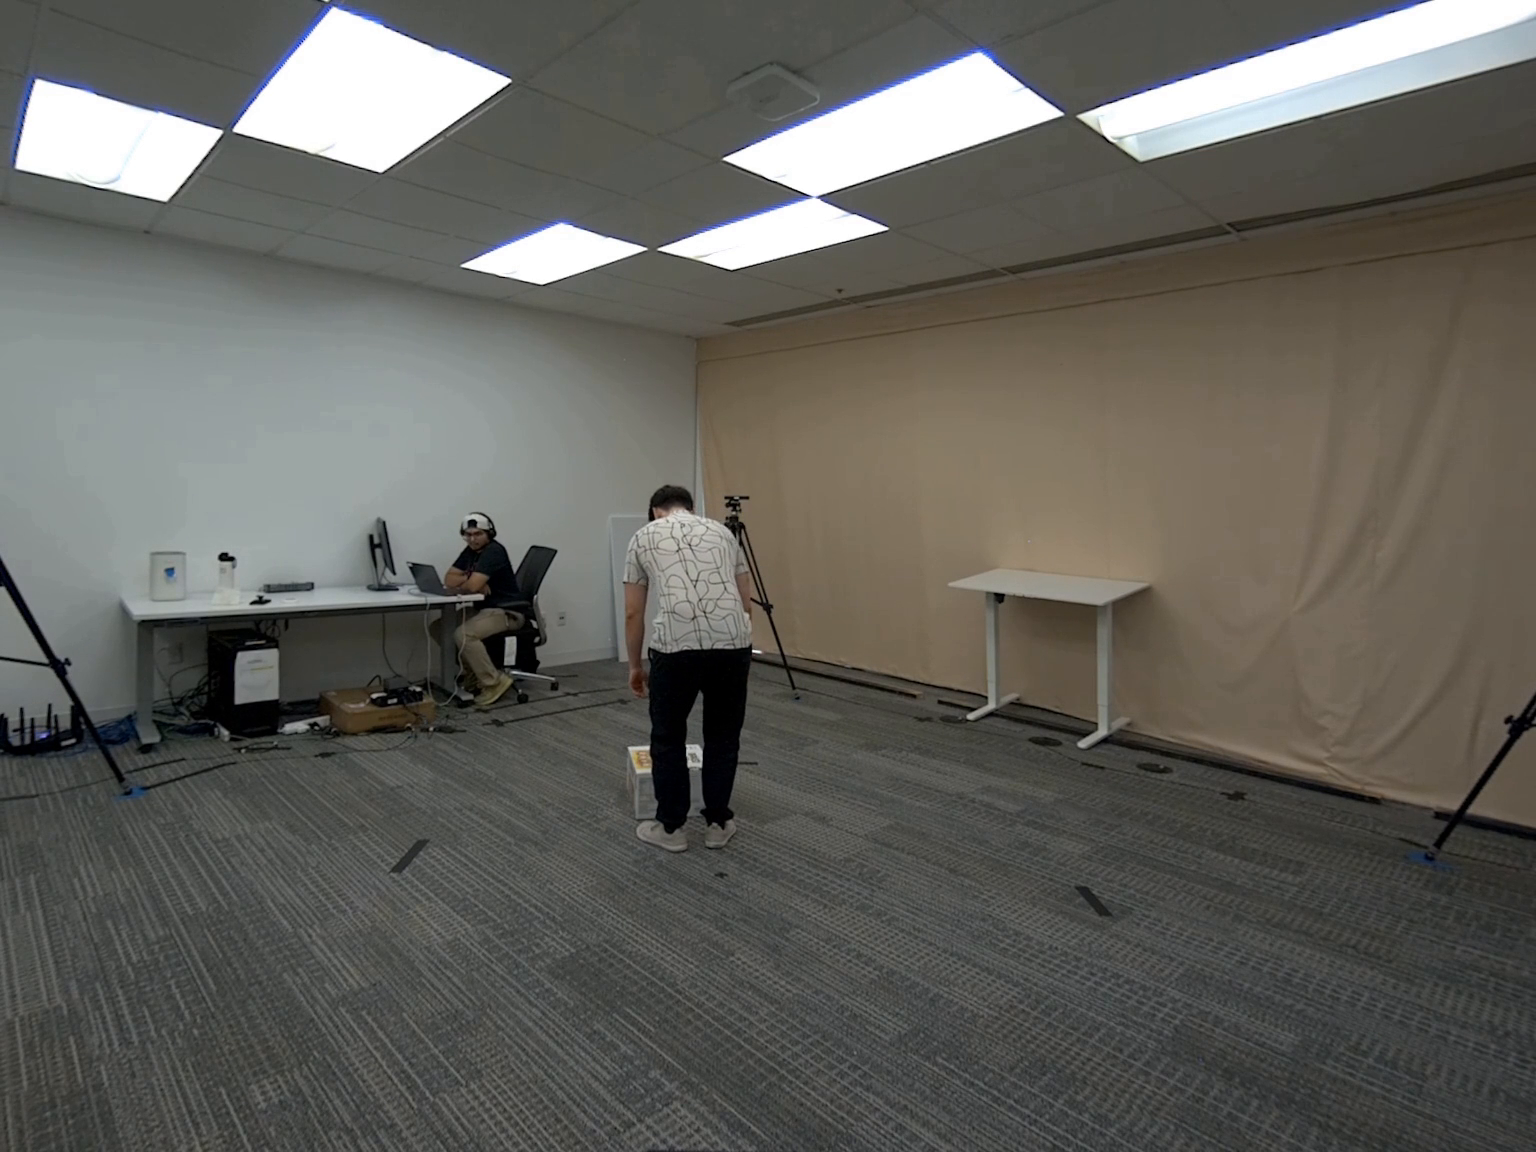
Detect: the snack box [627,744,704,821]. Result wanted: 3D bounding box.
[{"bbox_3d":[-0.462,0.931,3.841,0.337,0.205,0.410,0,5,-14],"label":"snack box"}]
